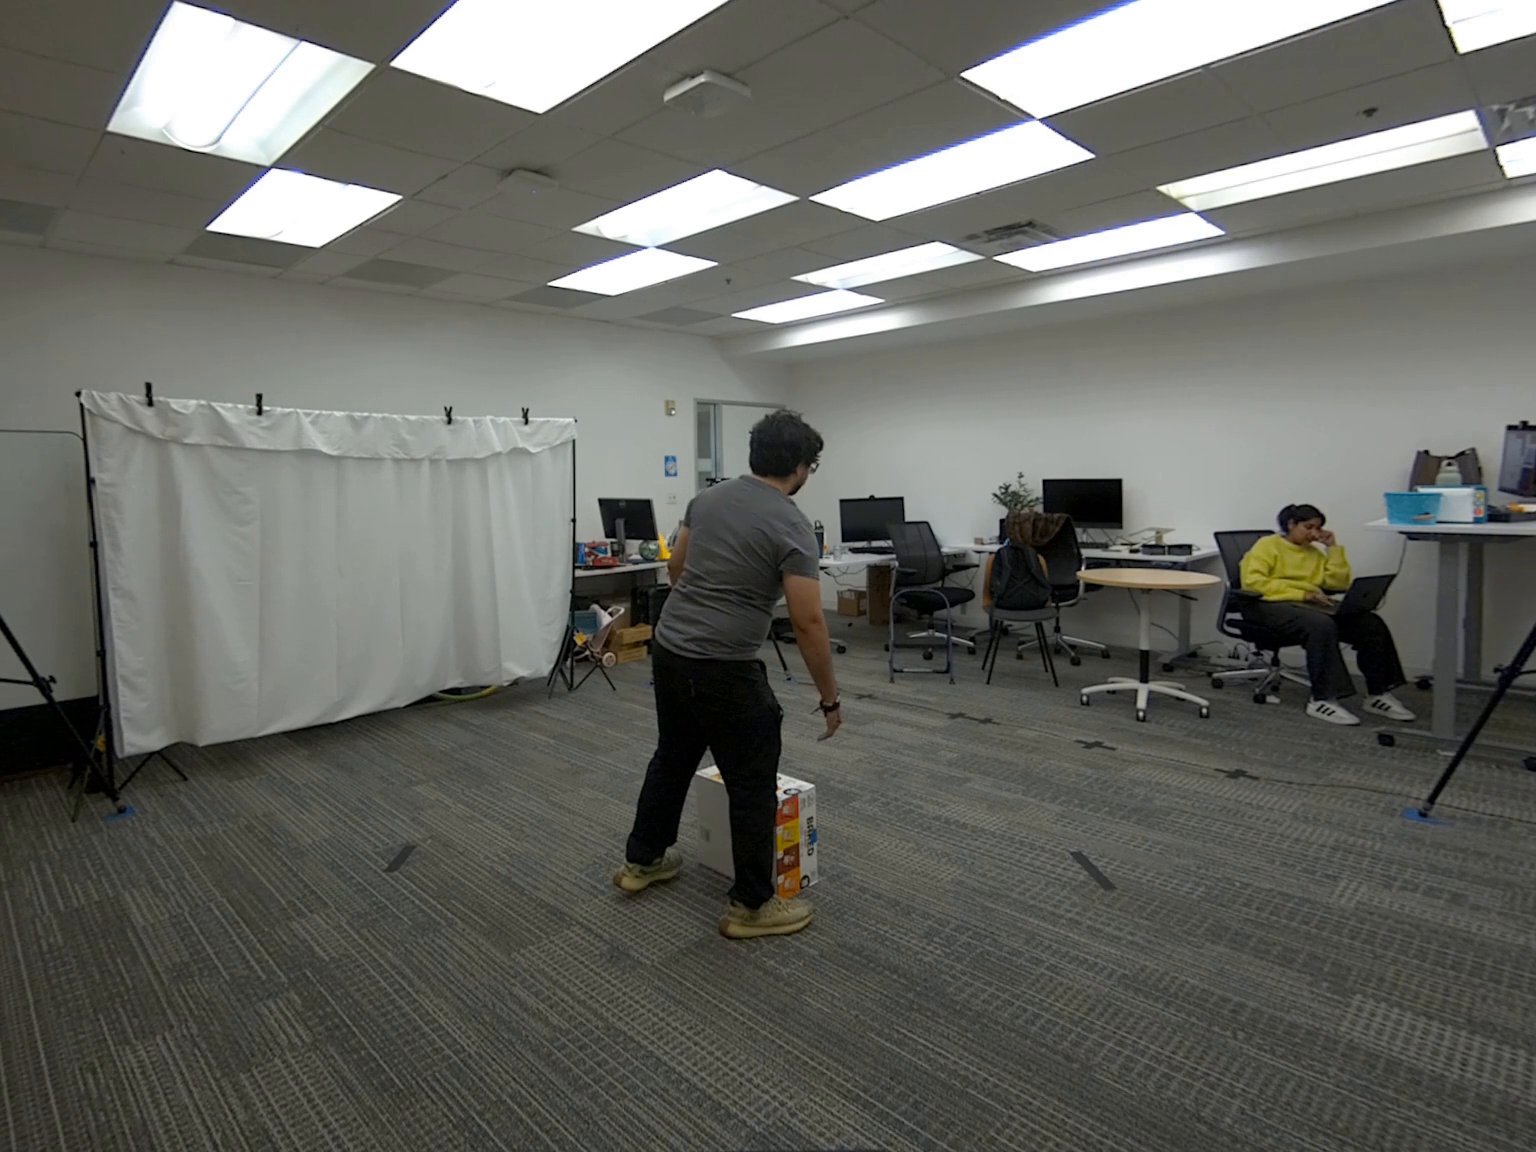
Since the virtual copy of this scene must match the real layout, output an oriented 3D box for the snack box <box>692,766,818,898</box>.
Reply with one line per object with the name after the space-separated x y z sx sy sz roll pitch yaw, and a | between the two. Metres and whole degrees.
-0.042 0.884 3.019 0.200 0.339 0.418 -6 7 -44 | snack box
